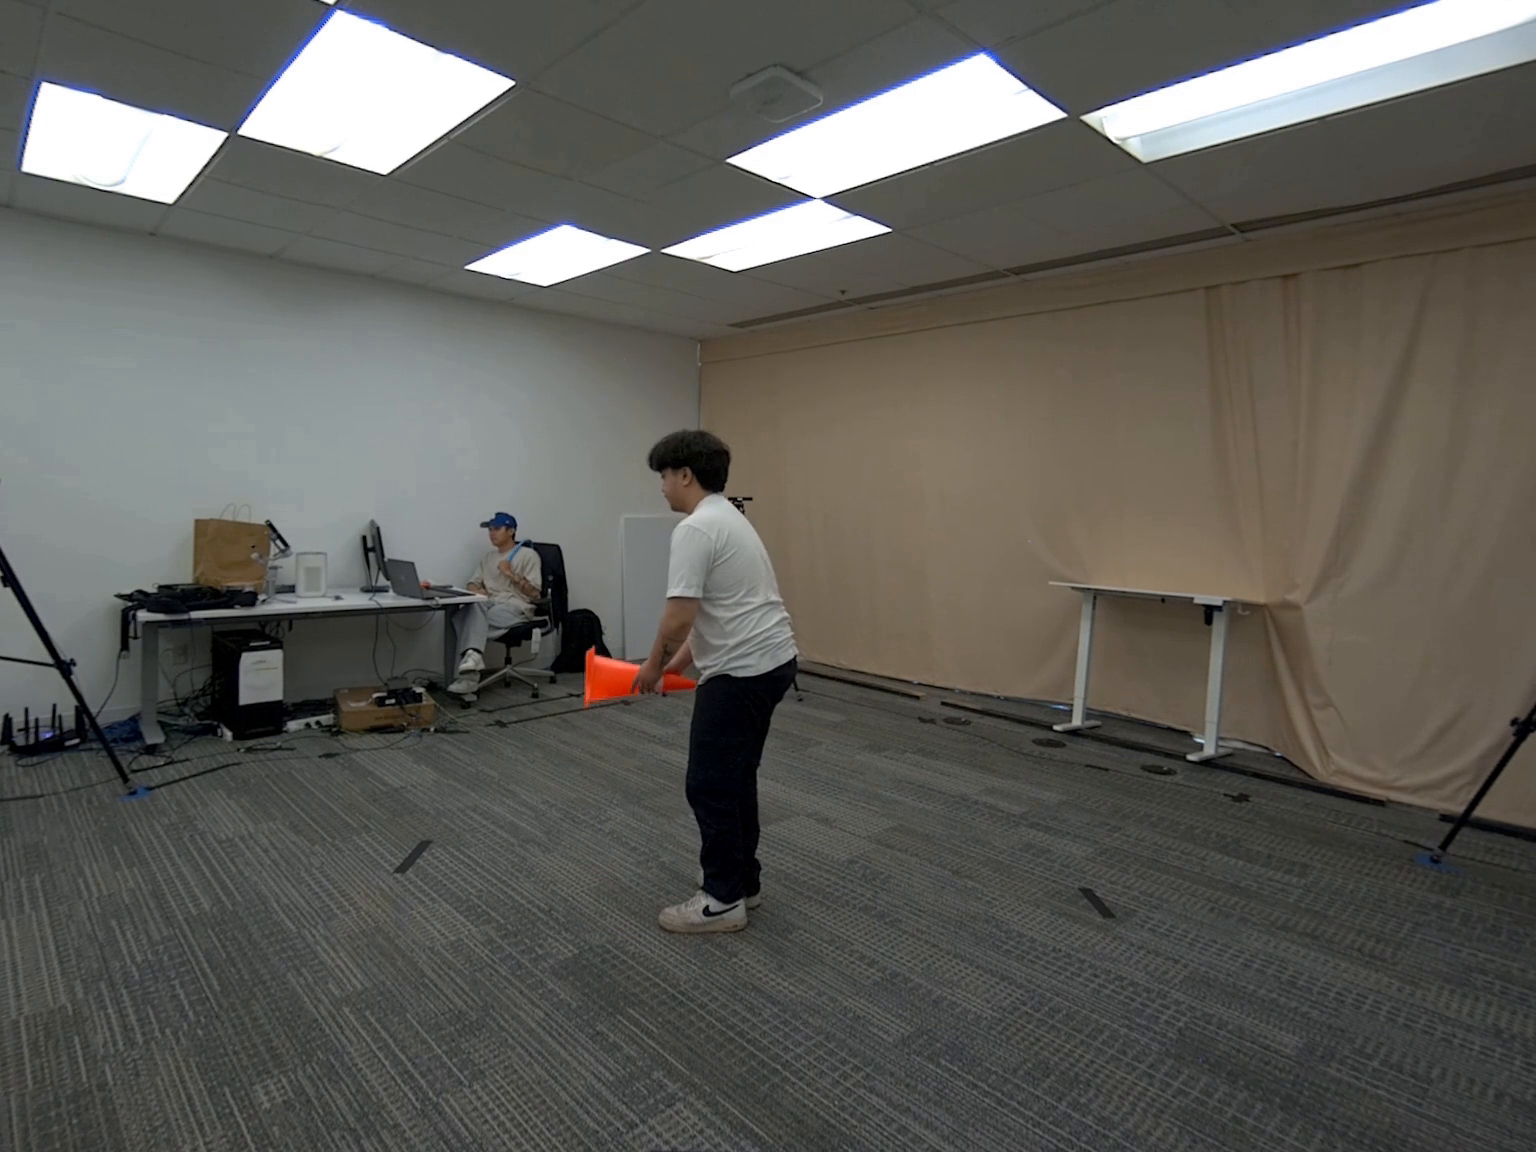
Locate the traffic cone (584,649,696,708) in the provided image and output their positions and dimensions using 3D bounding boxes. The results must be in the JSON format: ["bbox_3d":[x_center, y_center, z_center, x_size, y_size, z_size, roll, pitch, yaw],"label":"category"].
[{"bbox_3d":[-0.444,0.384,2.958,0.379,0.205,0.205,8,-15,-14],"label":"traffic cone"}]
